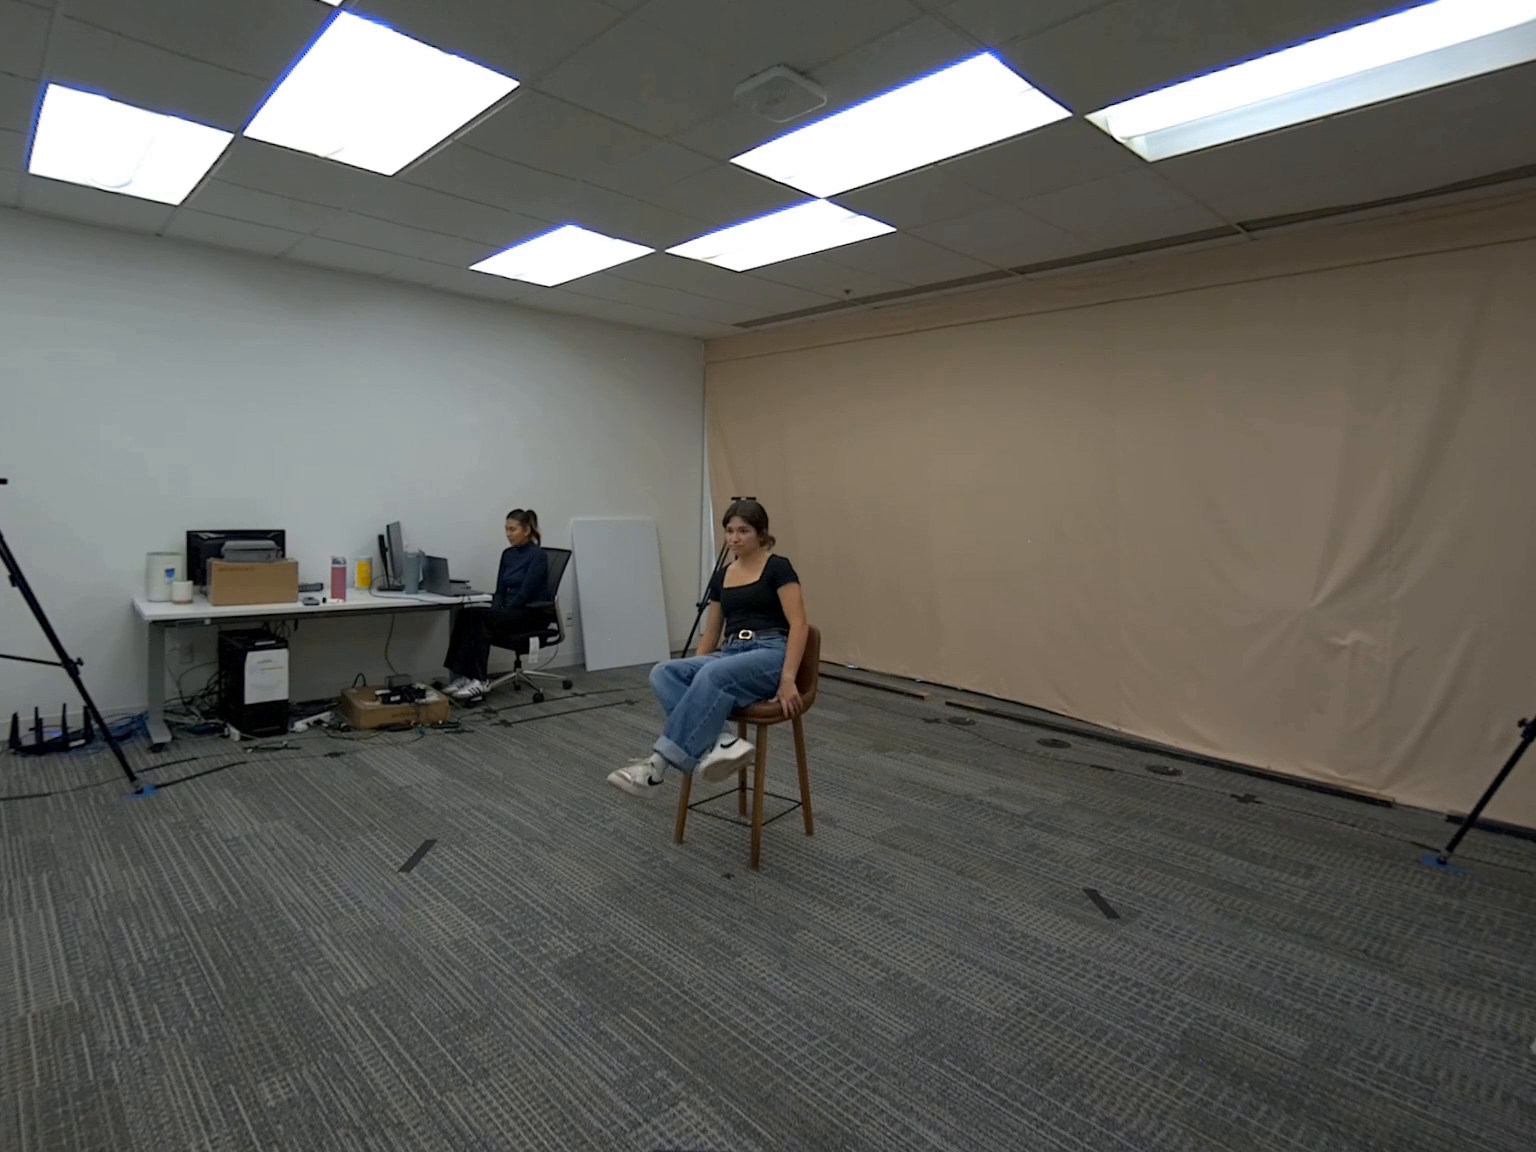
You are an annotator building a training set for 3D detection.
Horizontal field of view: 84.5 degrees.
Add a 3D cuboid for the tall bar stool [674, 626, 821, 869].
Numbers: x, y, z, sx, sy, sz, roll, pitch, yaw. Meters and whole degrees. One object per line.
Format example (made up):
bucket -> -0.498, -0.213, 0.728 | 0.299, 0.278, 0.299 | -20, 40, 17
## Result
tall bar stool -> -0.073, 0.646, 3.436 | 0.467, 0.889, 0.457 | 4, 2, 37
